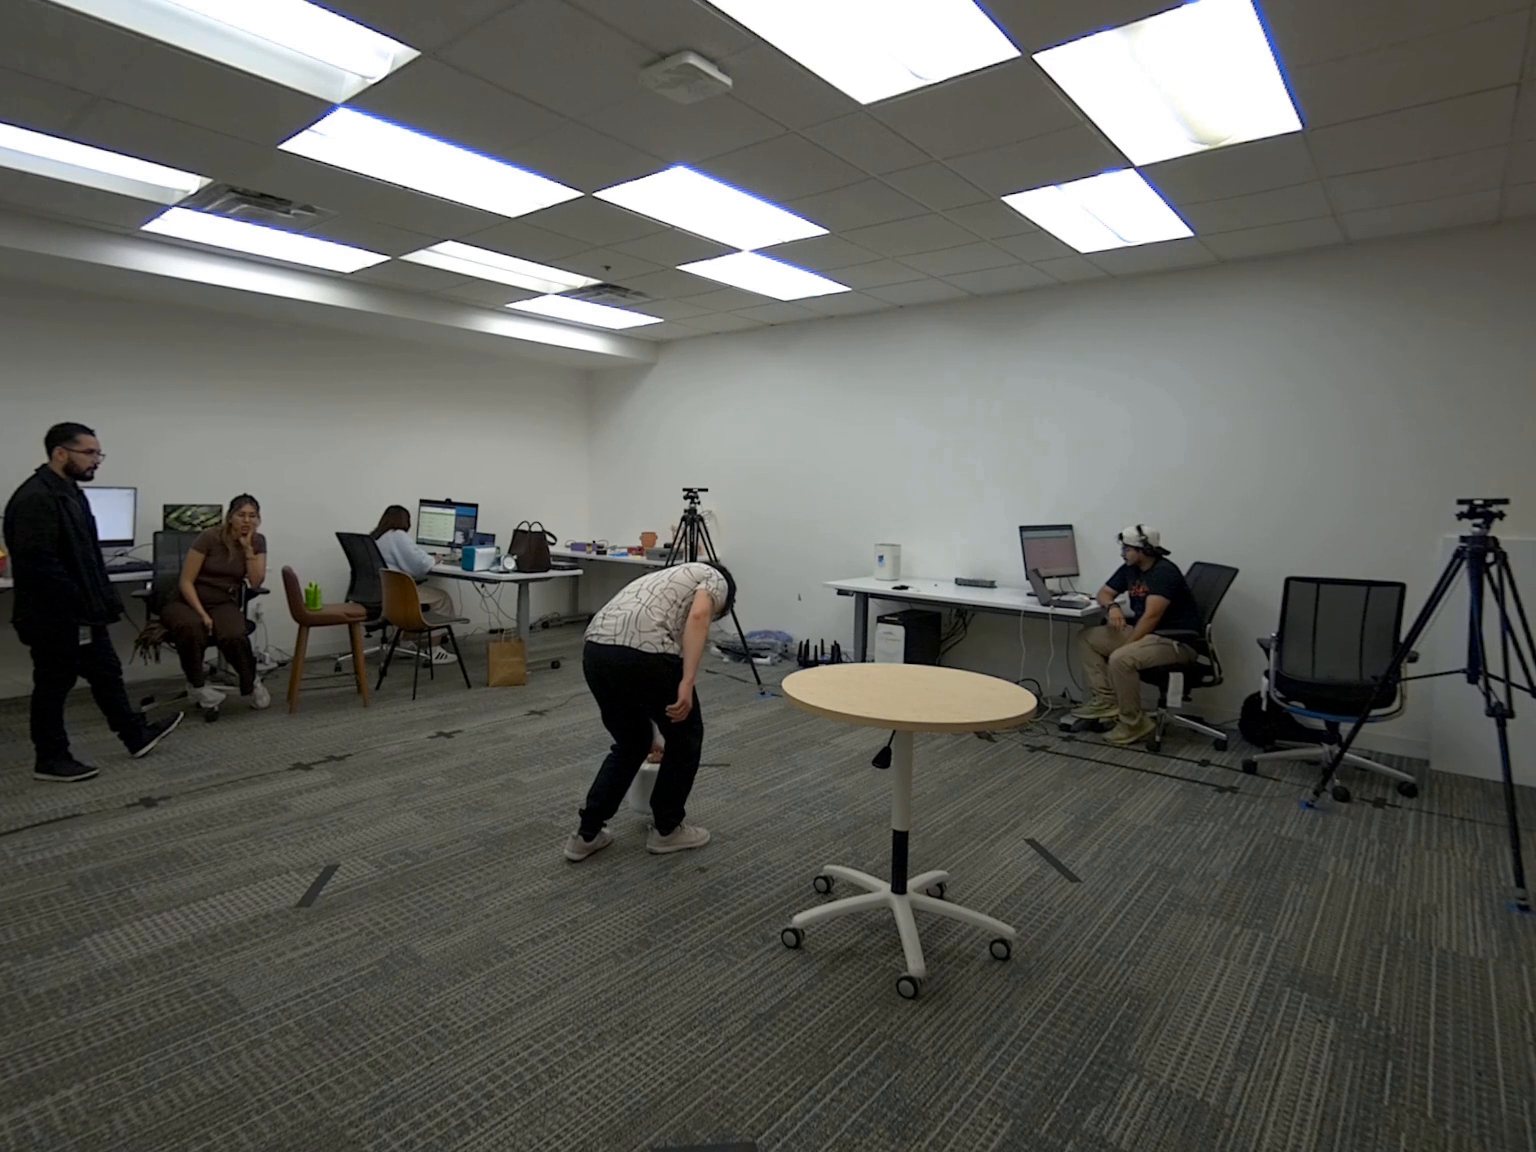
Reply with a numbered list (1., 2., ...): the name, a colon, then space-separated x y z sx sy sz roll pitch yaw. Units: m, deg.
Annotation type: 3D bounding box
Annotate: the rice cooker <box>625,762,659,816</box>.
1. rice cooker: -0.478 0.840 3.512 0.216 0.233 0.222 1 1 -21
